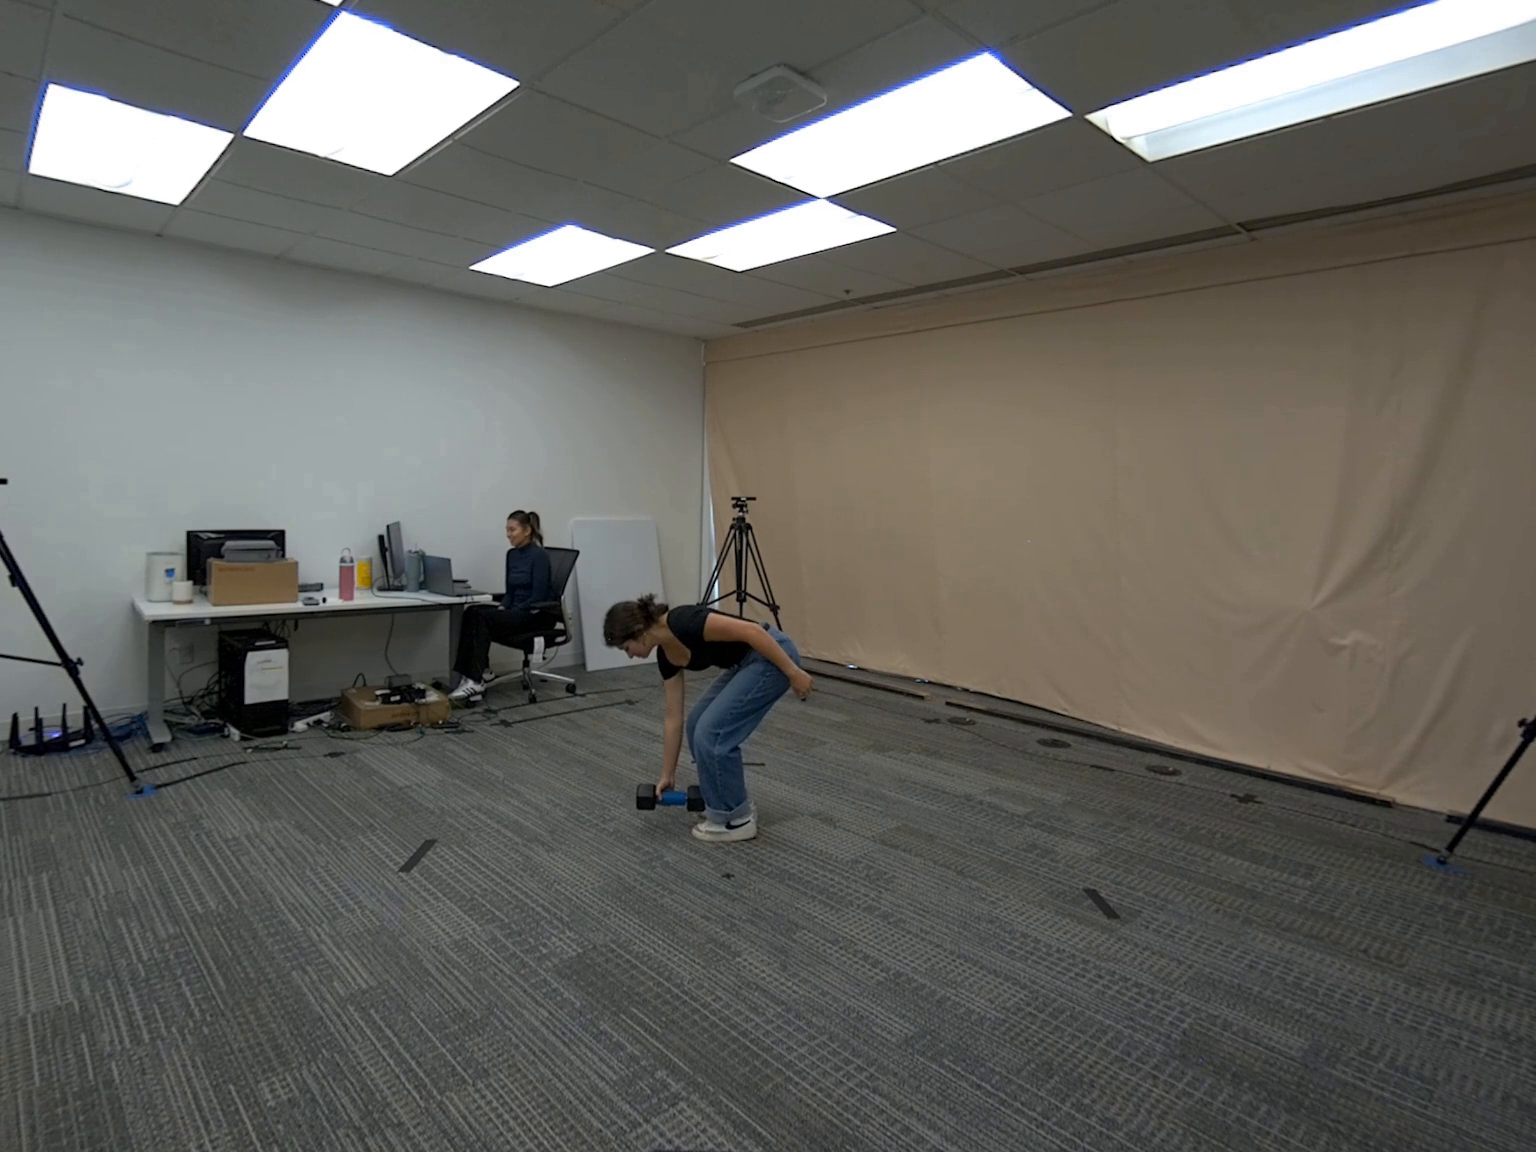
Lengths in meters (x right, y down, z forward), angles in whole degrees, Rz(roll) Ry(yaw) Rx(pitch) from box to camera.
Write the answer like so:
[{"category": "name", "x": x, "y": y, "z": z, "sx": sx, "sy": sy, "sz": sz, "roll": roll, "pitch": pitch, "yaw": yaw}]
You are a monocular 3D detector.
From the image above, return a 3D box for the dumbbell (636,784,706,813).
[{"category": "dumbbell", "x": -0.411, "y": 0.930, "z": 3.544, "sx": 0.293, "sy": 0.122, "sz": 0.109, "roll": 3, "pitch": 10, "yaw": -1}]
